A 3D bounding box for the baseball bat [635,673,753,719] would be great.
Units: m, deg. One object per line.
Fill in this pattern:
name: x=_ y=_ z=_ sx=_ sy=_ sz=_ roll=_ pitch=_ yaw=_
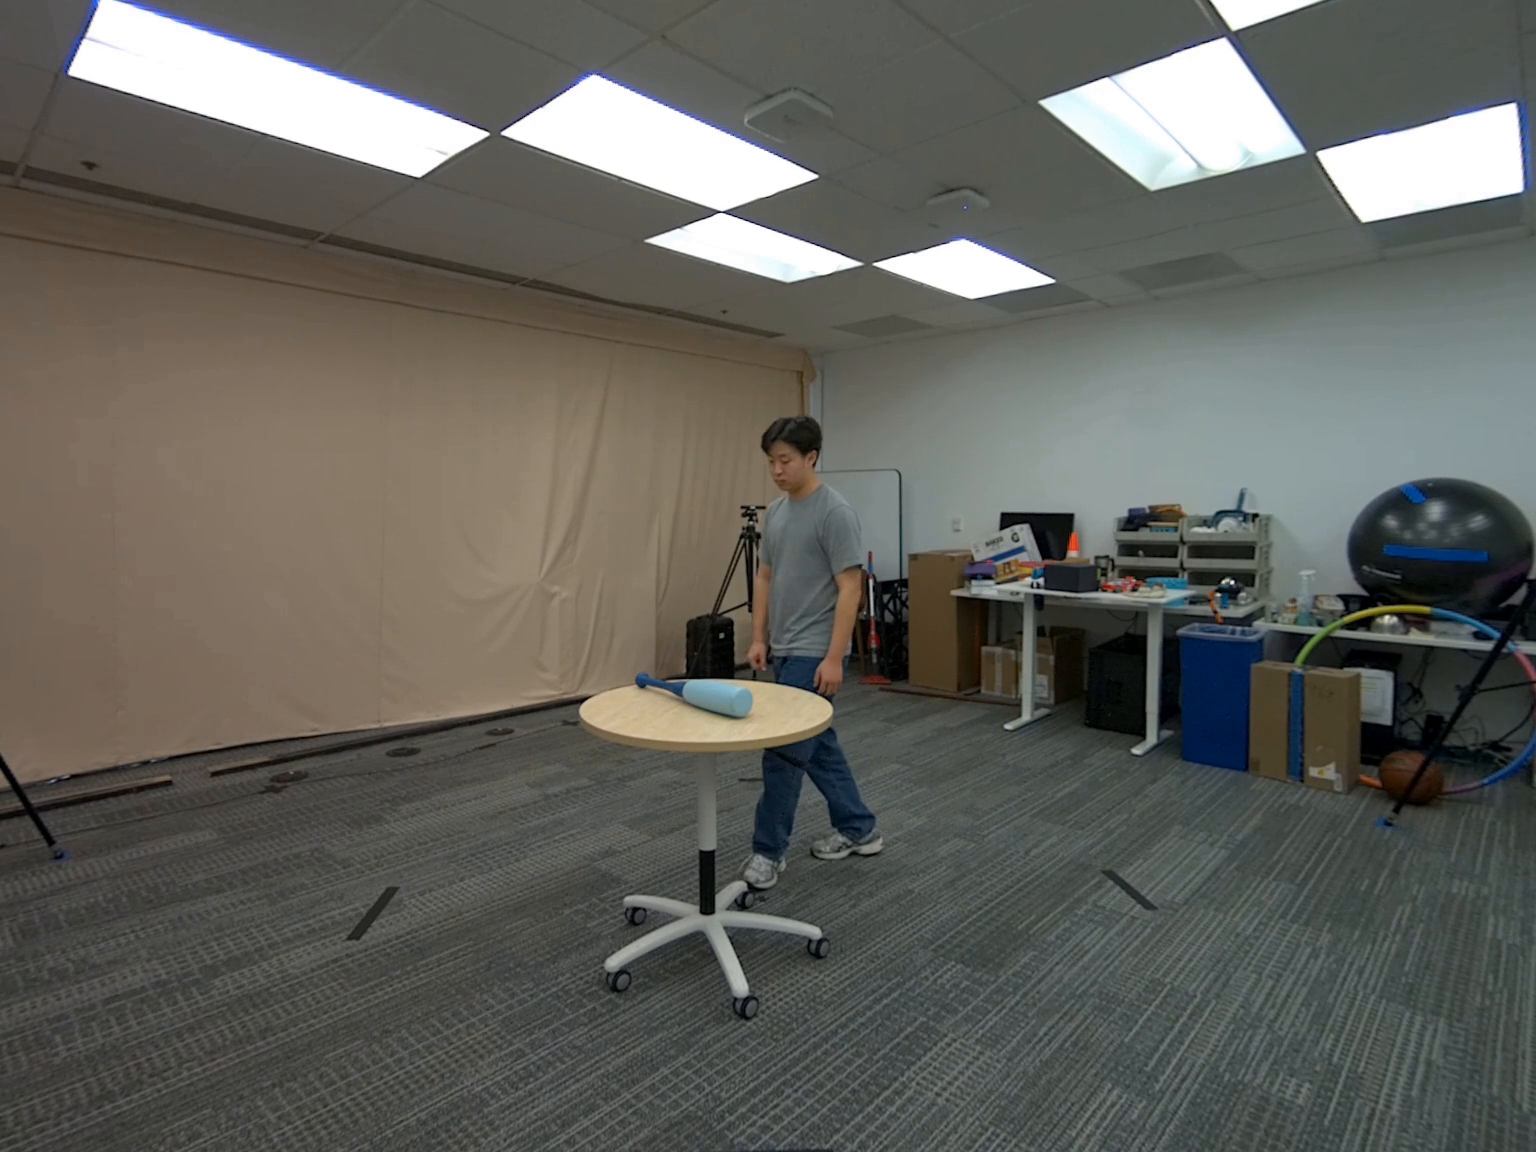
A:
baseball bat: x=-0.244 y=0.356 z=2.610 sx=0.086 sy=0.089 sz=0.560 roll=-3 pitch=3 yaw=-41
